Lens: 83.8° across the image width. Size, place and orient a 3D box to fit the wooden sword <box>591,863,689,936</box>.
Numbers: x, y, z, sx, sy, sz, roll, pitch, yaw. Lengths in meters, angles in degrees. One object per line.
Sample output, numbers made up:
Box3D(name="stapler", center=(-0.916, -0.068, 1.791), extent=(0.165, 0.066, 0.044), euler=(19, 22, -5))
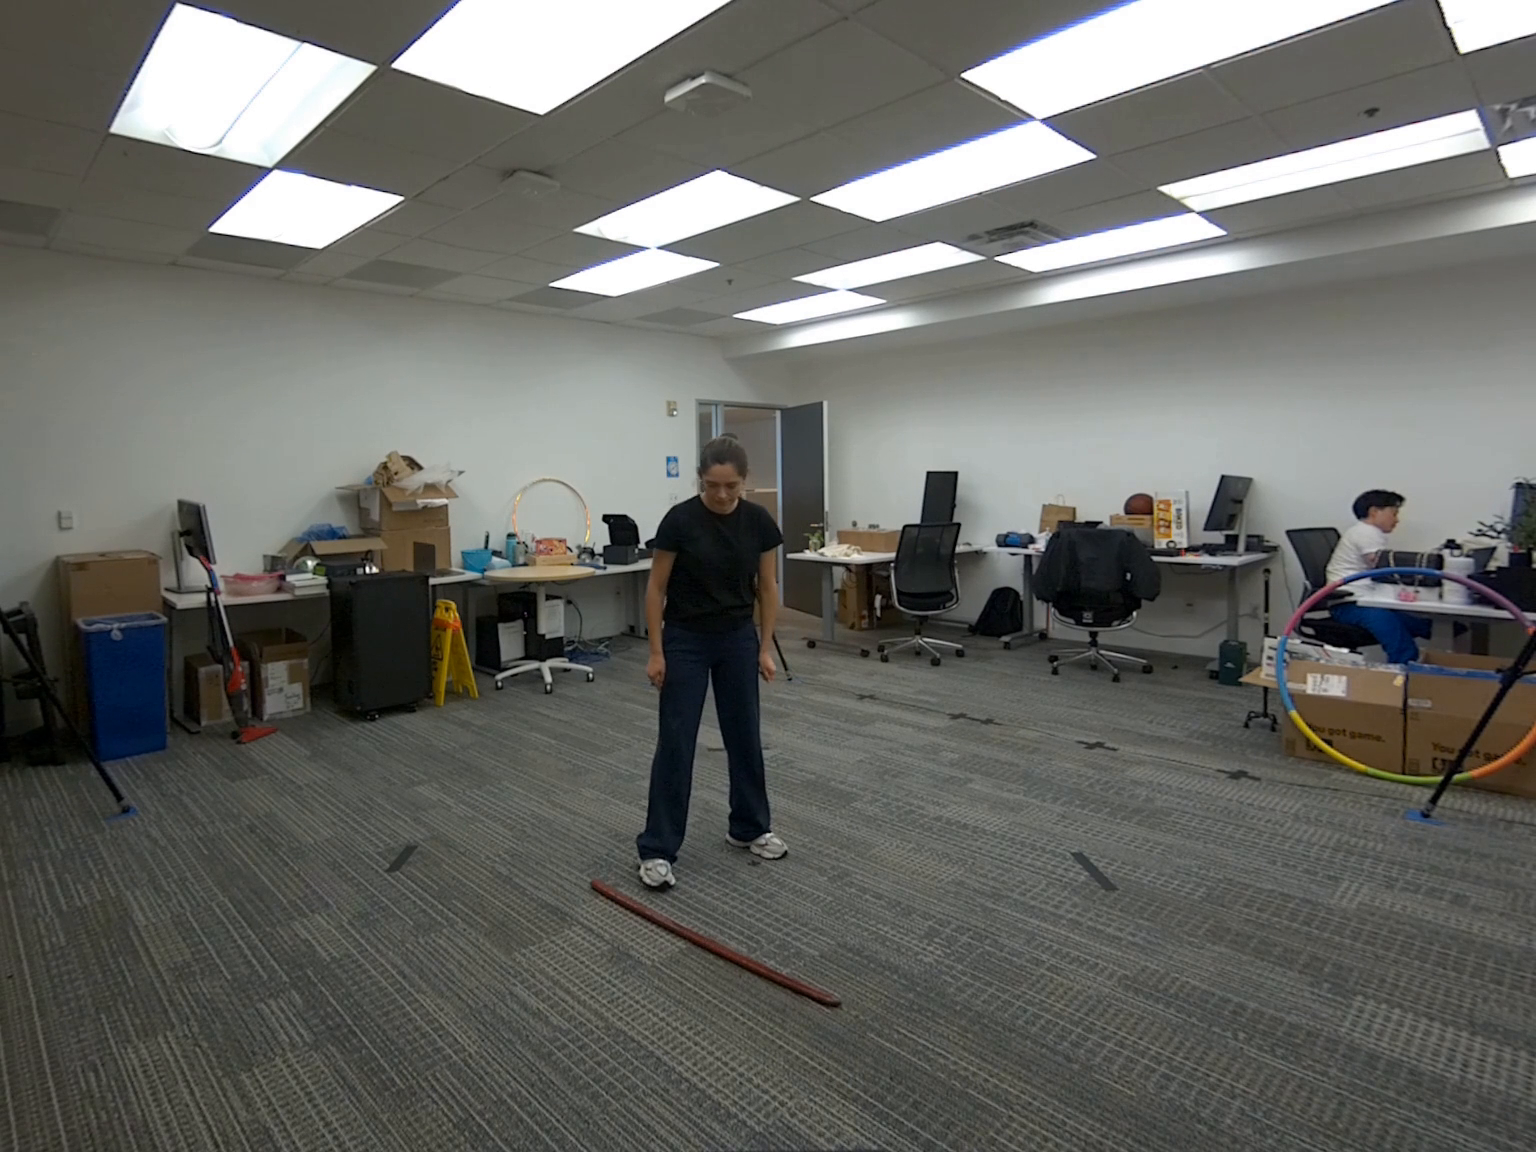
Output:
Box3D(name="wooden sword", center=(-0.216, 1.082, 2.622), extent=(1.057, 0.024, 0.050), euler=(5, 9, 41))
